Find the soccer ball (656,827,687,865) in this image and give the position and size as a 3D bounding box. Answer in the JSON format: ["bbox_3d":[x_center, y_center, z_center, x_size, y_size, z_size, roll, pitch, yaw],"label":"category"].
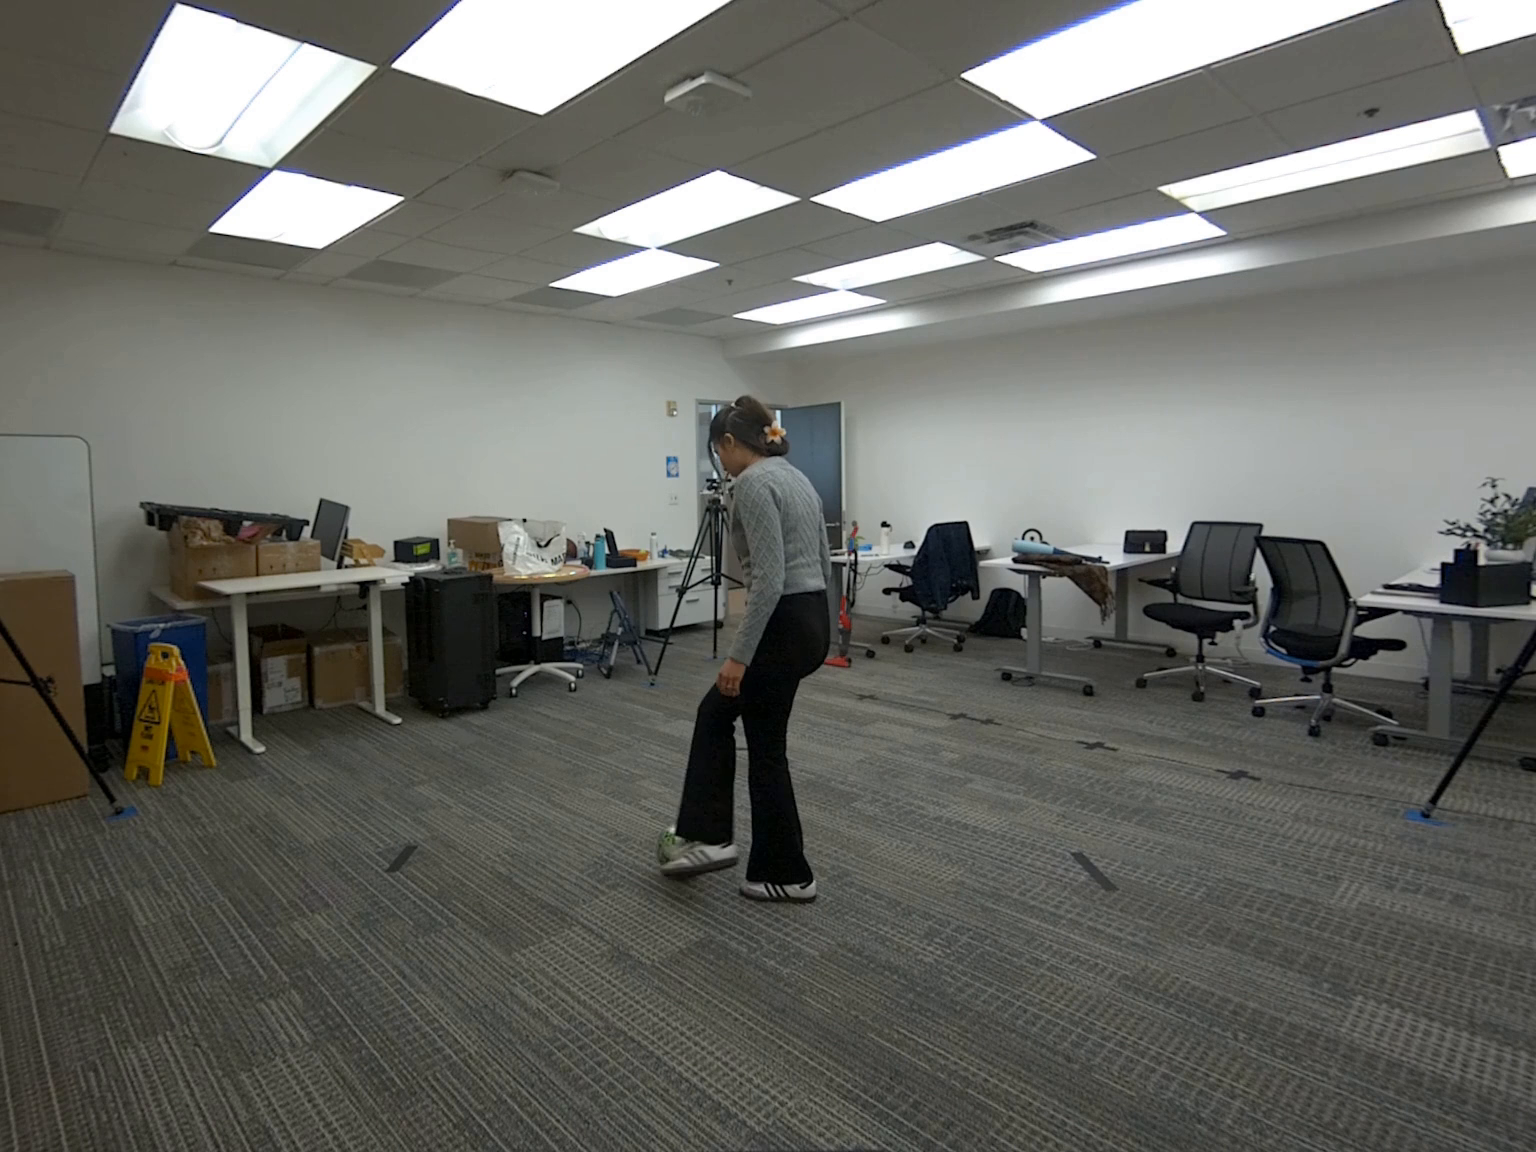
[{"bbox_3d":[-0.299,0.966,3.025,0.187,0.187,0.188,-1,5,-2],"label":"soccer ball"}]
